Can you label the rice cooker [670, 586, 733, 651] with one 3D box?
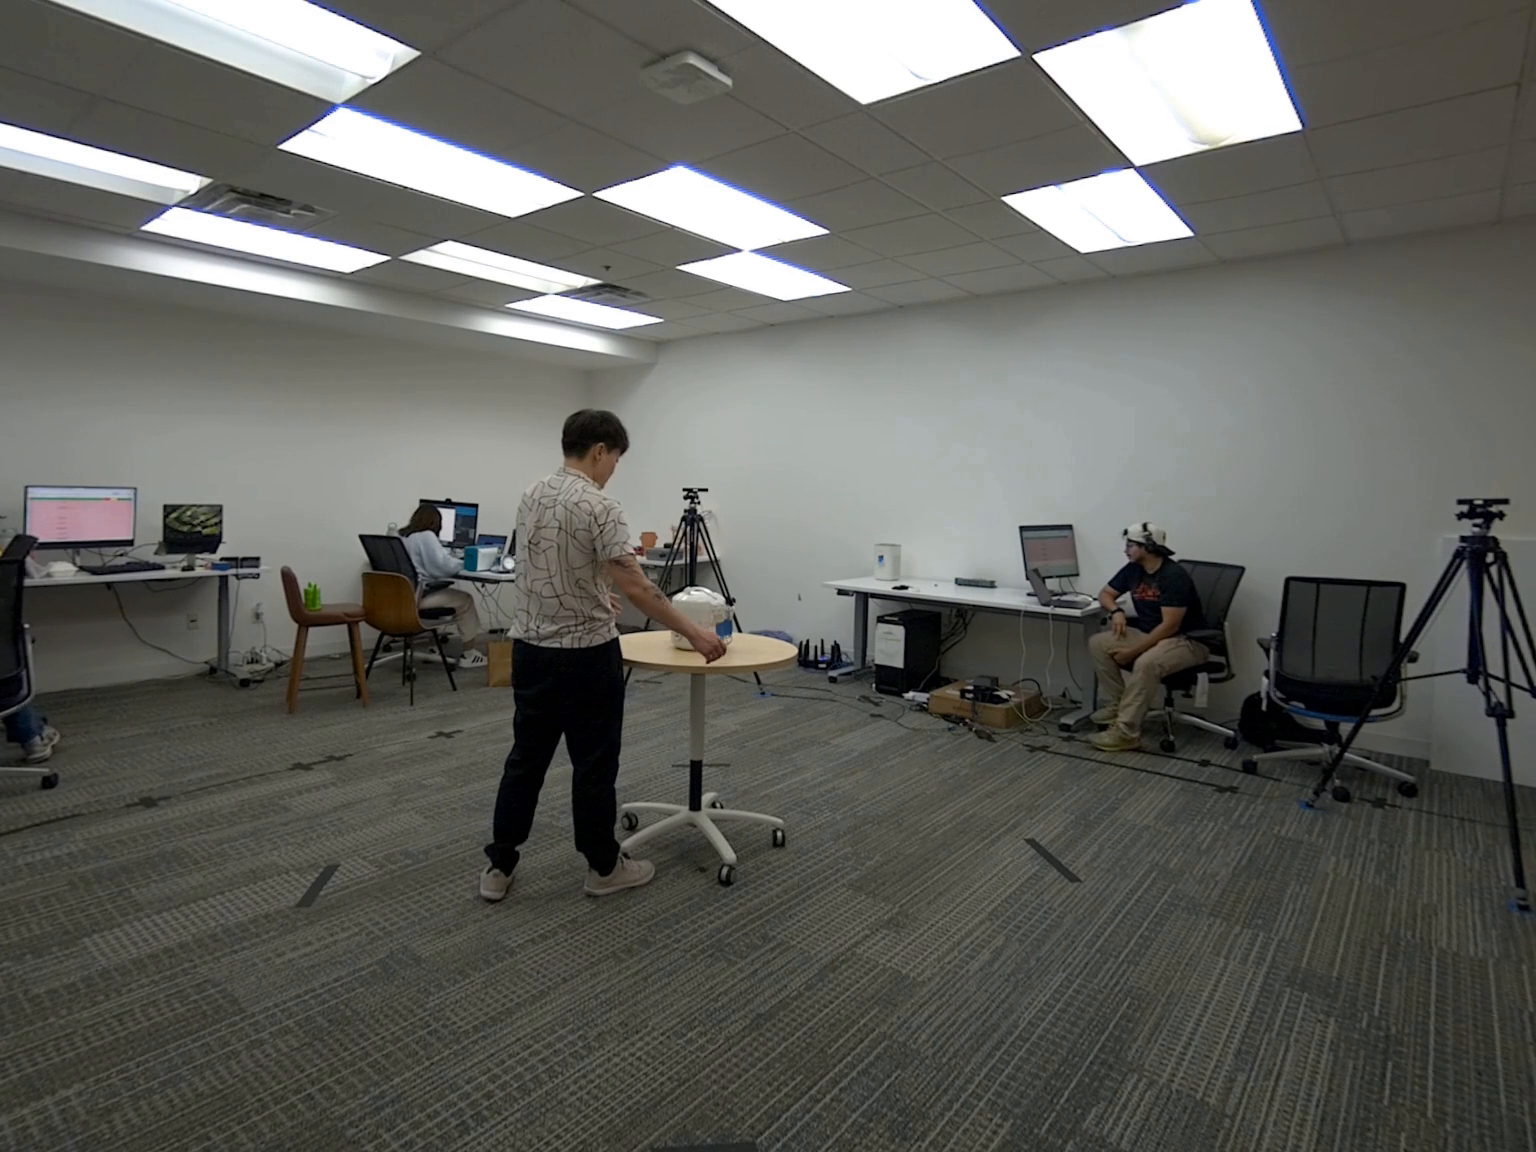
[{"bbox_3d":[-0.276,0.156,3.263,0.228,0.232,0.210,6,5,42],"label":"rice cooker"}]
